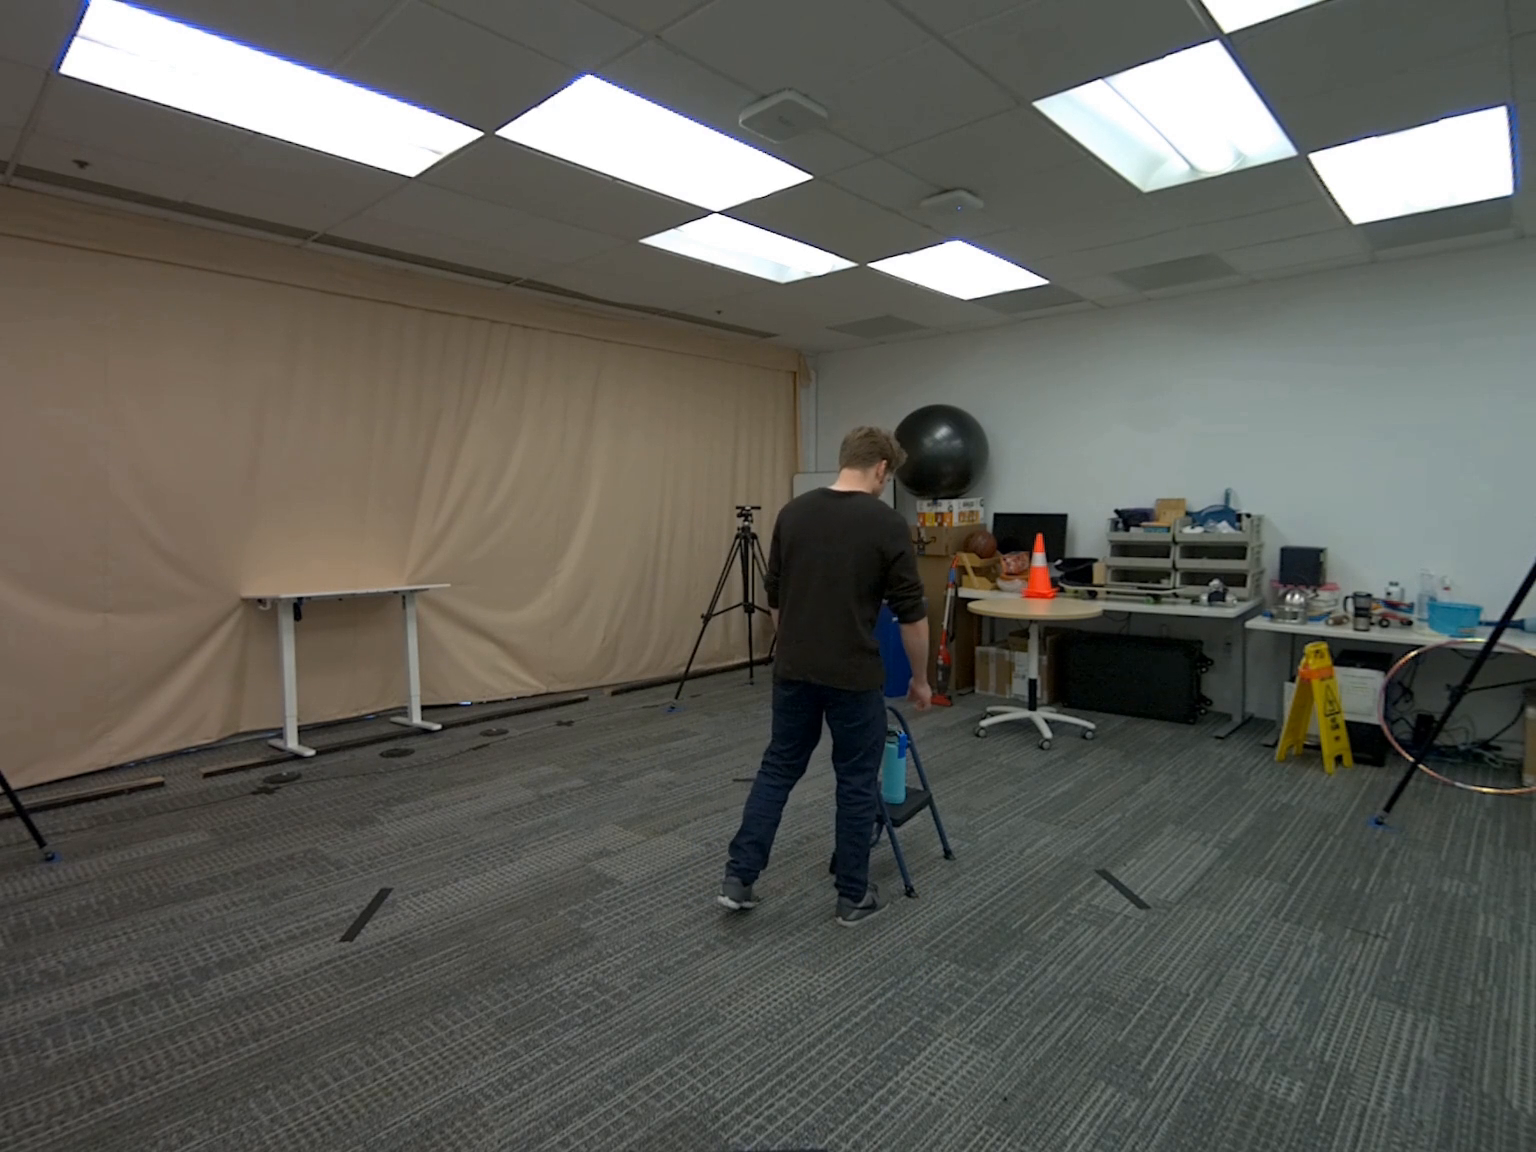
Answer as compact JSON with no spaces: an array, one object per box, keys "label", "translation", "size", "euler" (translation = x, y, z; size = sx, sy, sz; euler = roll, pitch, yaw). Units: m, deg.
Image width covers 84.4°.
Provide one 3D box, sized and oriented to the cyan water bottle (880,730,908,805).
[{"label":"cyan water bottle","translation":[0.489,0.723,3.229],"size":[0.092,0.283,0.092],"euler":[2,2,-2]}]
